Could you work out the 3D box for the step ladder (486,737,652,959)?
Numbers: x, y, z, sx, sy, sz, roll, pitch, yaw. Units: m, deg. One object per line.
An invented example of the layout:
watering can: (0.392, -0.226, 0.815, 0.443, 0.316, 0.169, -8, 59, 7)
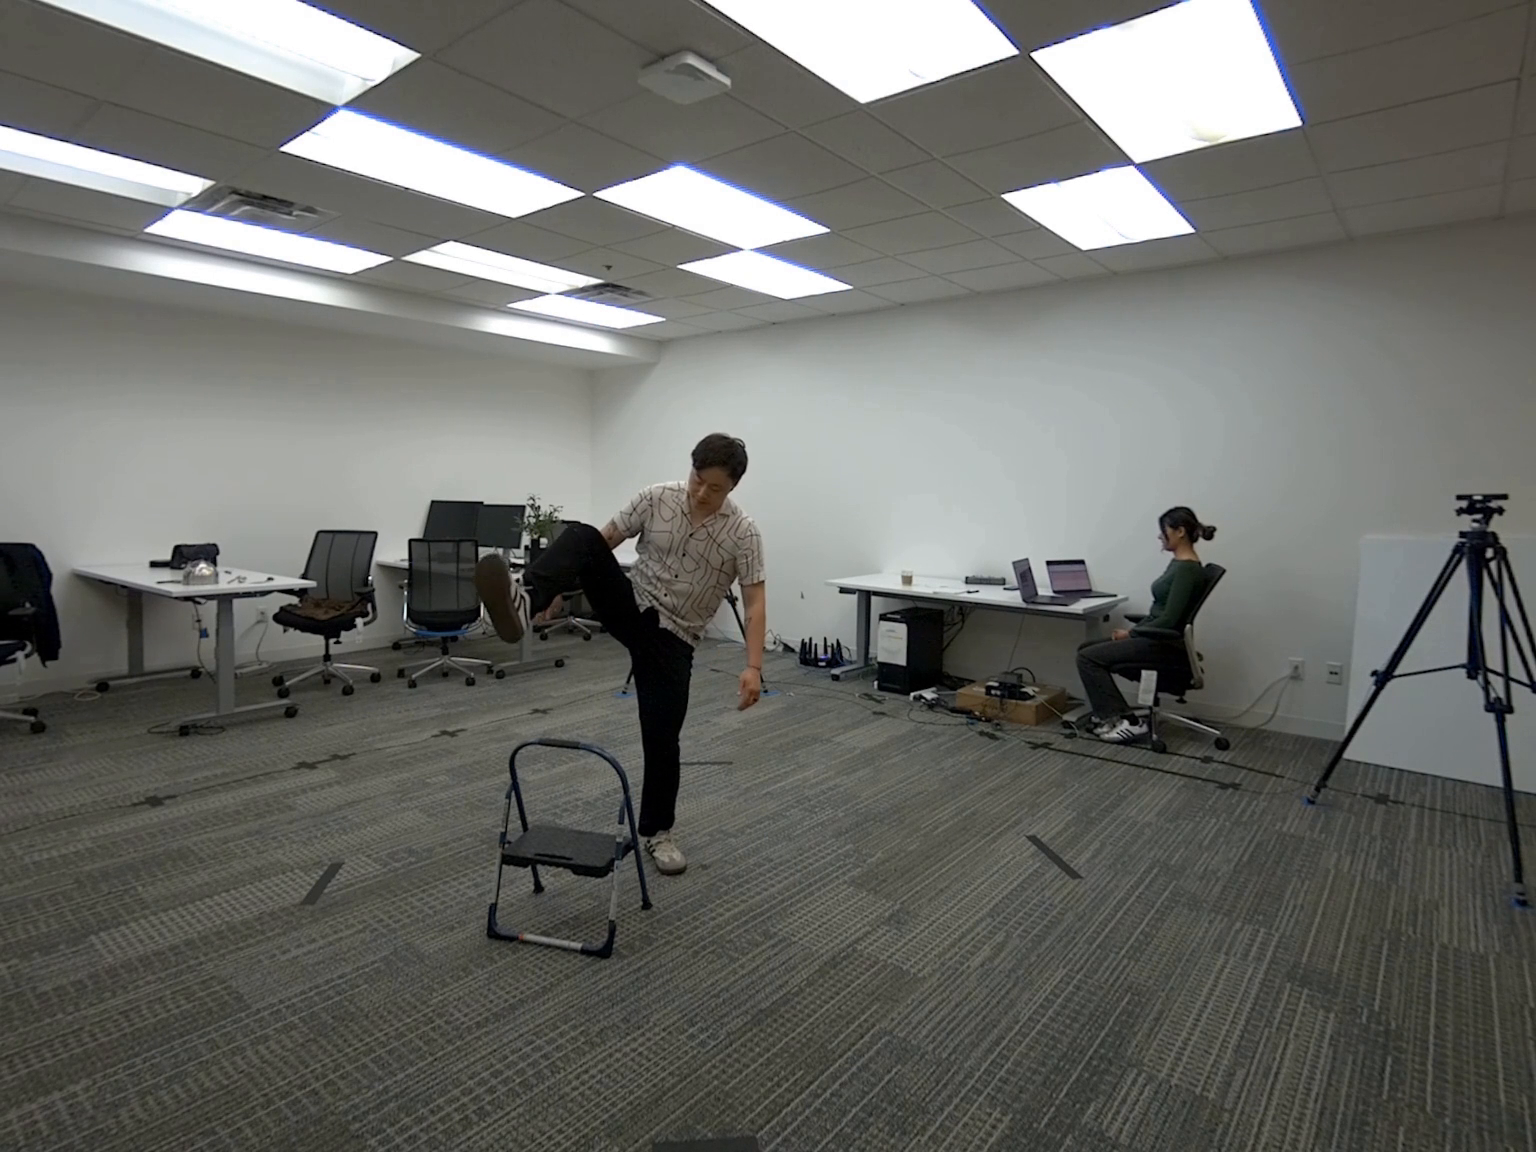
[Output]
step ladder: (-0.636, 0.797, 2.697, 0.437, 0.604, 0.345, 1, 4, 14)
